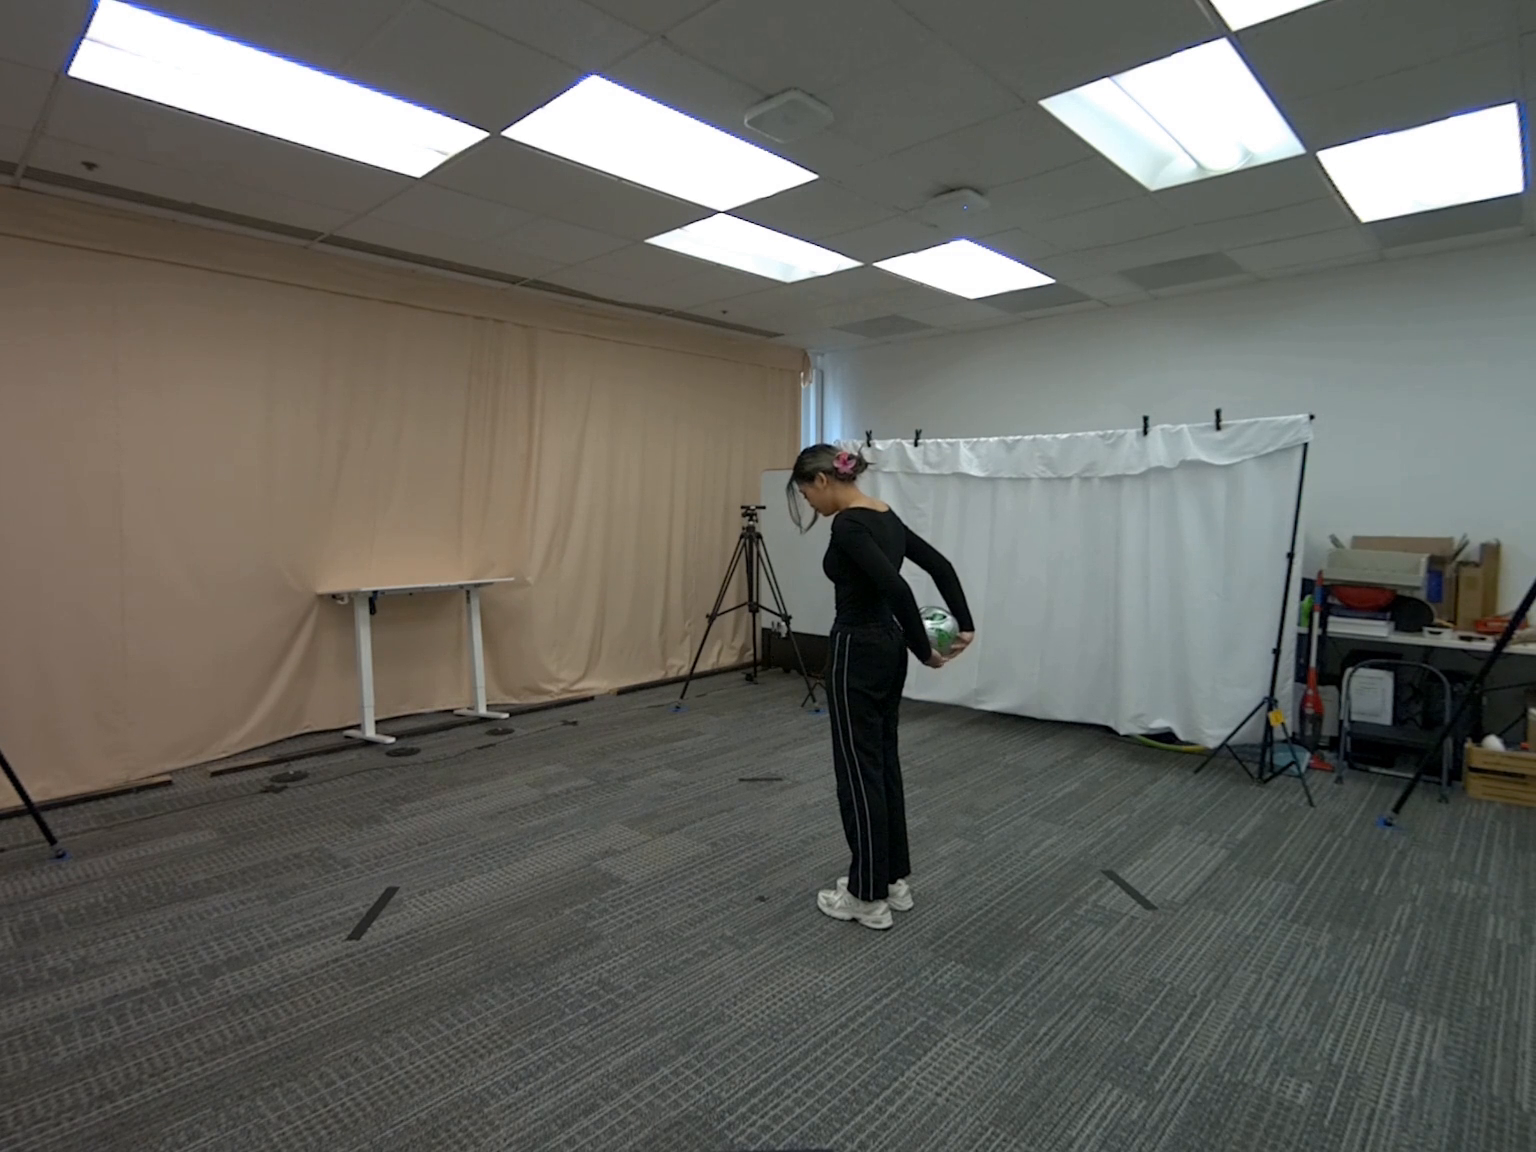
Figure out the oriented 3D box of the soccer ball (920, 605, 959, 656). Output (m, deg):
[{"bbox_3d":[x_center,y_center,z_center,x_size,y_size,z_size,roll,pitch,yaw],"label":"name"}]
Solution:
[{"bbox_3d":[0.560,0.203,2.887,0.187,0.187,0.188,0,4,-2],"label":"soccer ball"}]
